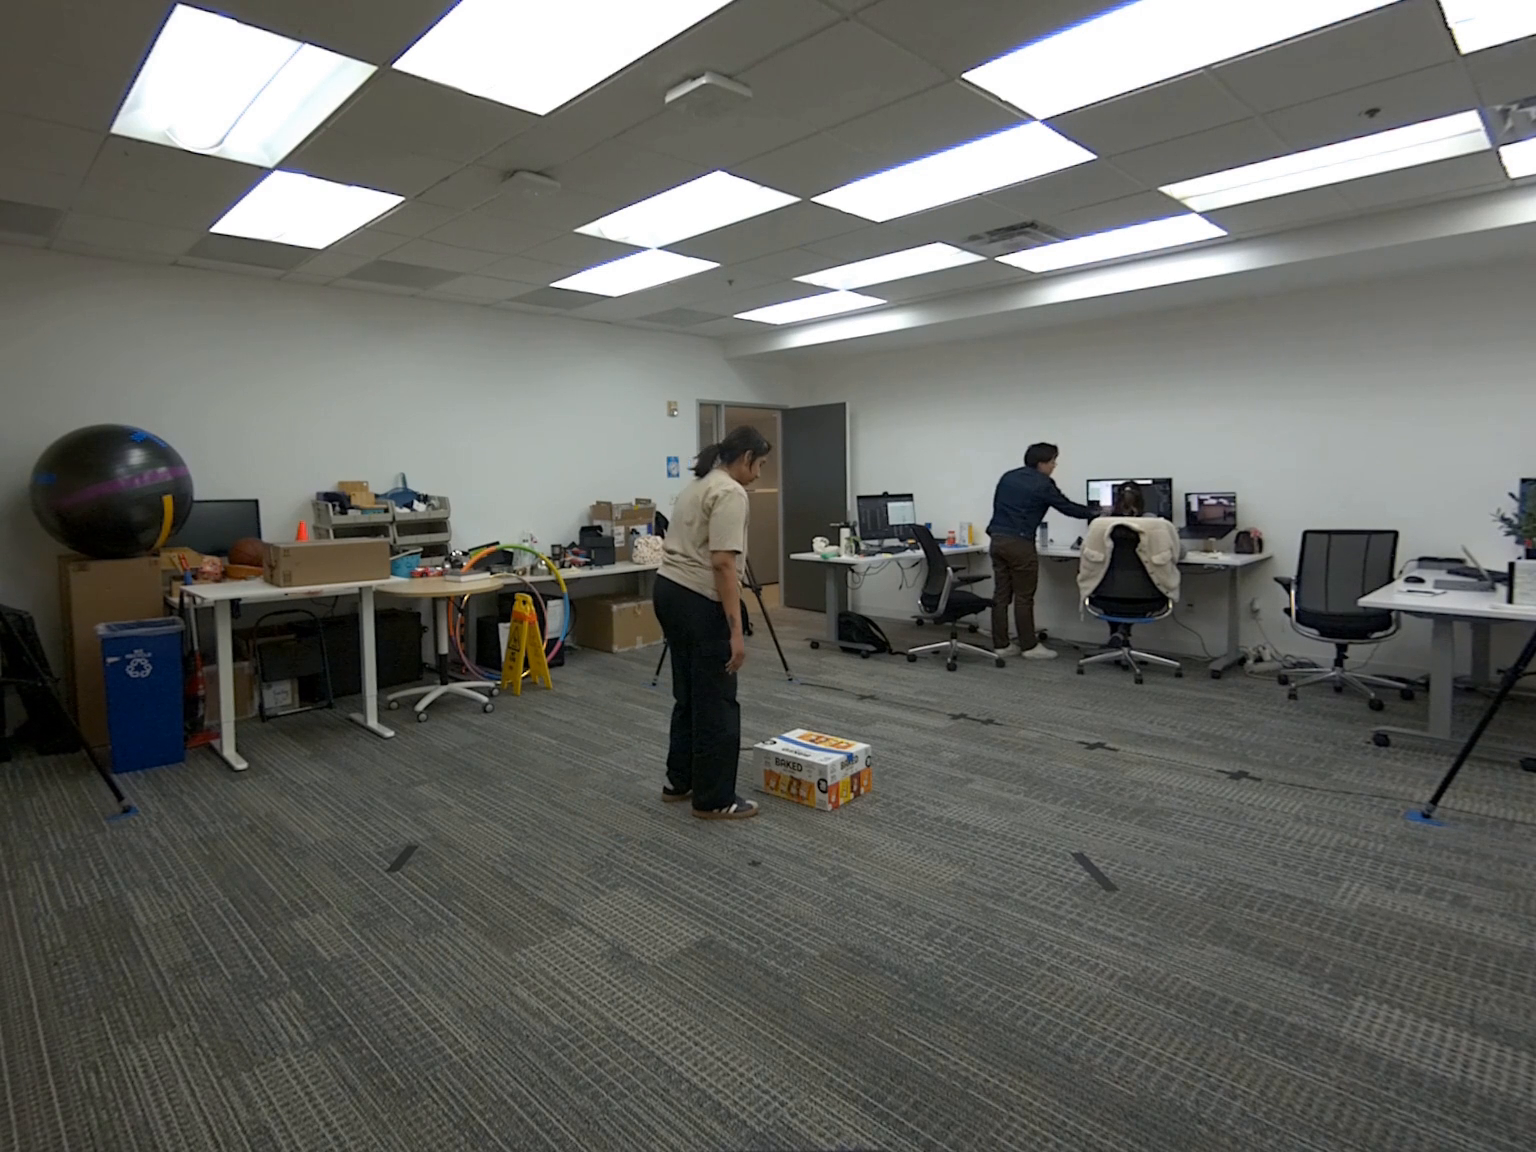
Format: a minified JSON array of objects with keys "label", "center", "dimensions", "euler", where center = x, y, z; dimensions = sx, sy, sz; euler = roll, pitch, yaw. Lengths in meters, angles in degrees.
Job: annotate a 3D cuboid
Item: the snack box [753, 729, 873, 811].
[{"label":"snack box","center":[0.198,0.857,3.826],"dimensions":[0.417,0.205,0.331],"euler":[4,7,40]}]
